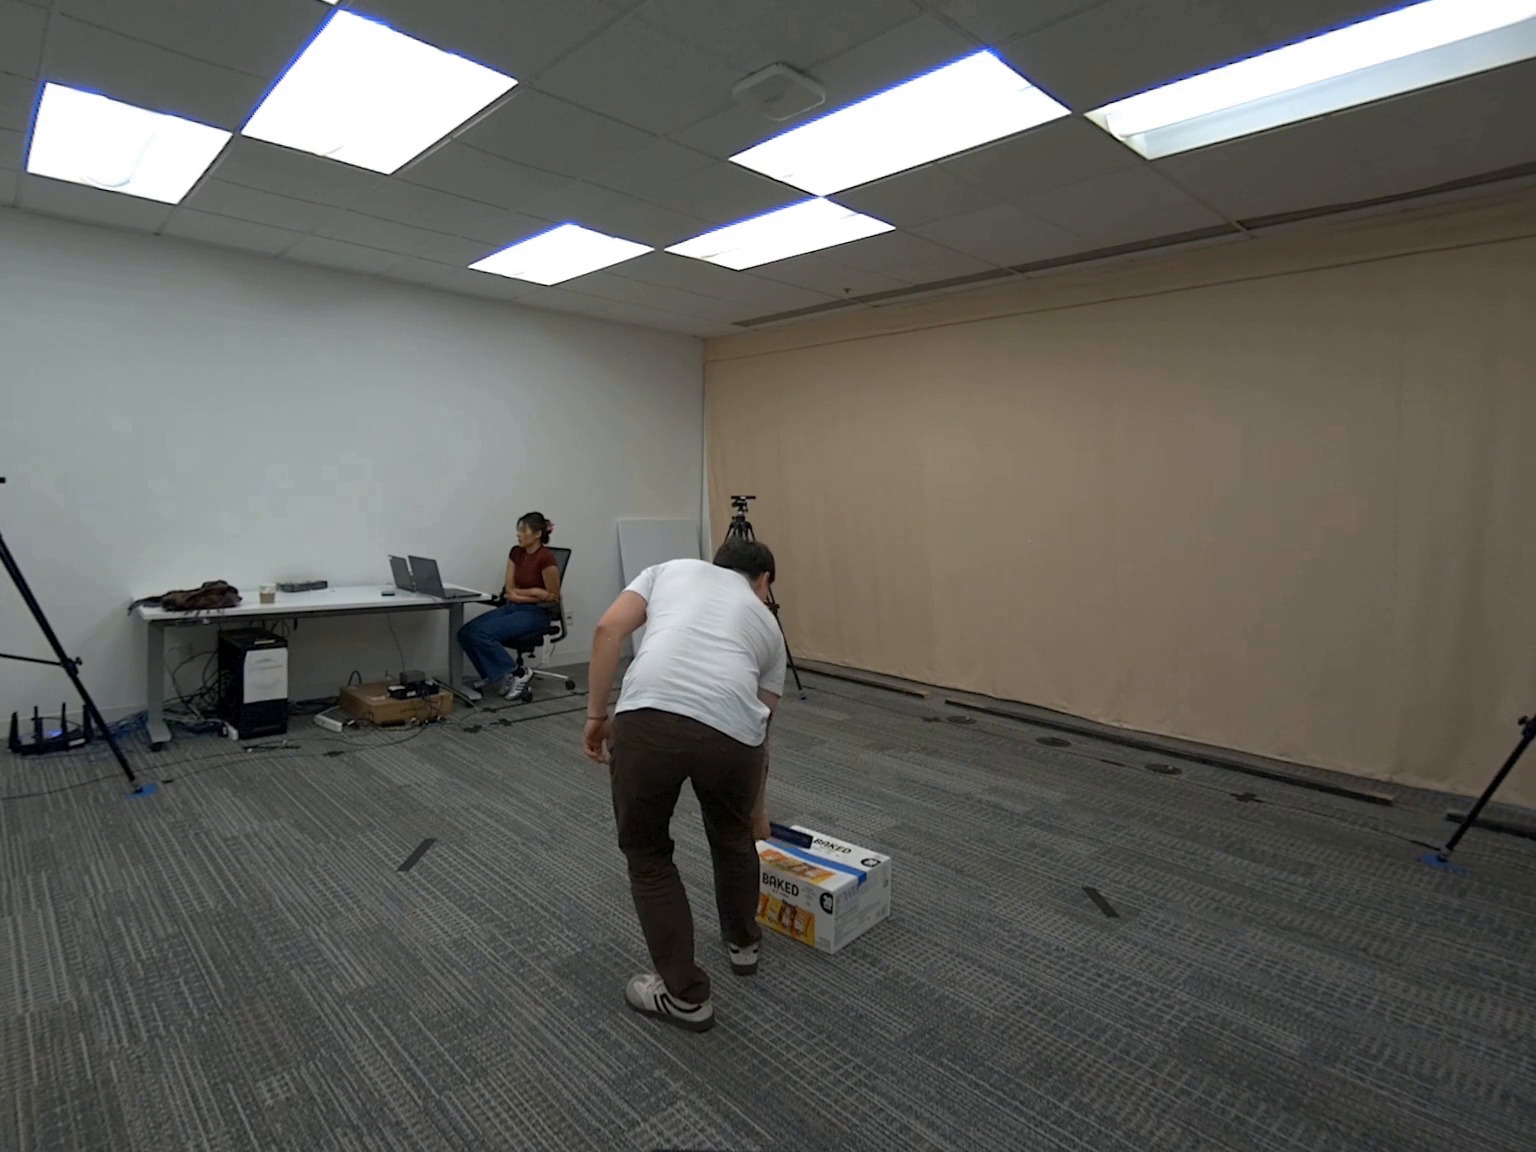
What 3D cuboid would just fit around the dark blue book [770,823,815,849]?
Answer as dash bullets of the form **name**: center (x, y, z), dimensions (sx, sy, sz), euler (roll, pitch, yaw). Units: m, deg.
- **dark blue book**: center (-0.002, 0.811, 2.695), dimensions (0.241, 0.045, 0.165), euler (24, -20, -19)
